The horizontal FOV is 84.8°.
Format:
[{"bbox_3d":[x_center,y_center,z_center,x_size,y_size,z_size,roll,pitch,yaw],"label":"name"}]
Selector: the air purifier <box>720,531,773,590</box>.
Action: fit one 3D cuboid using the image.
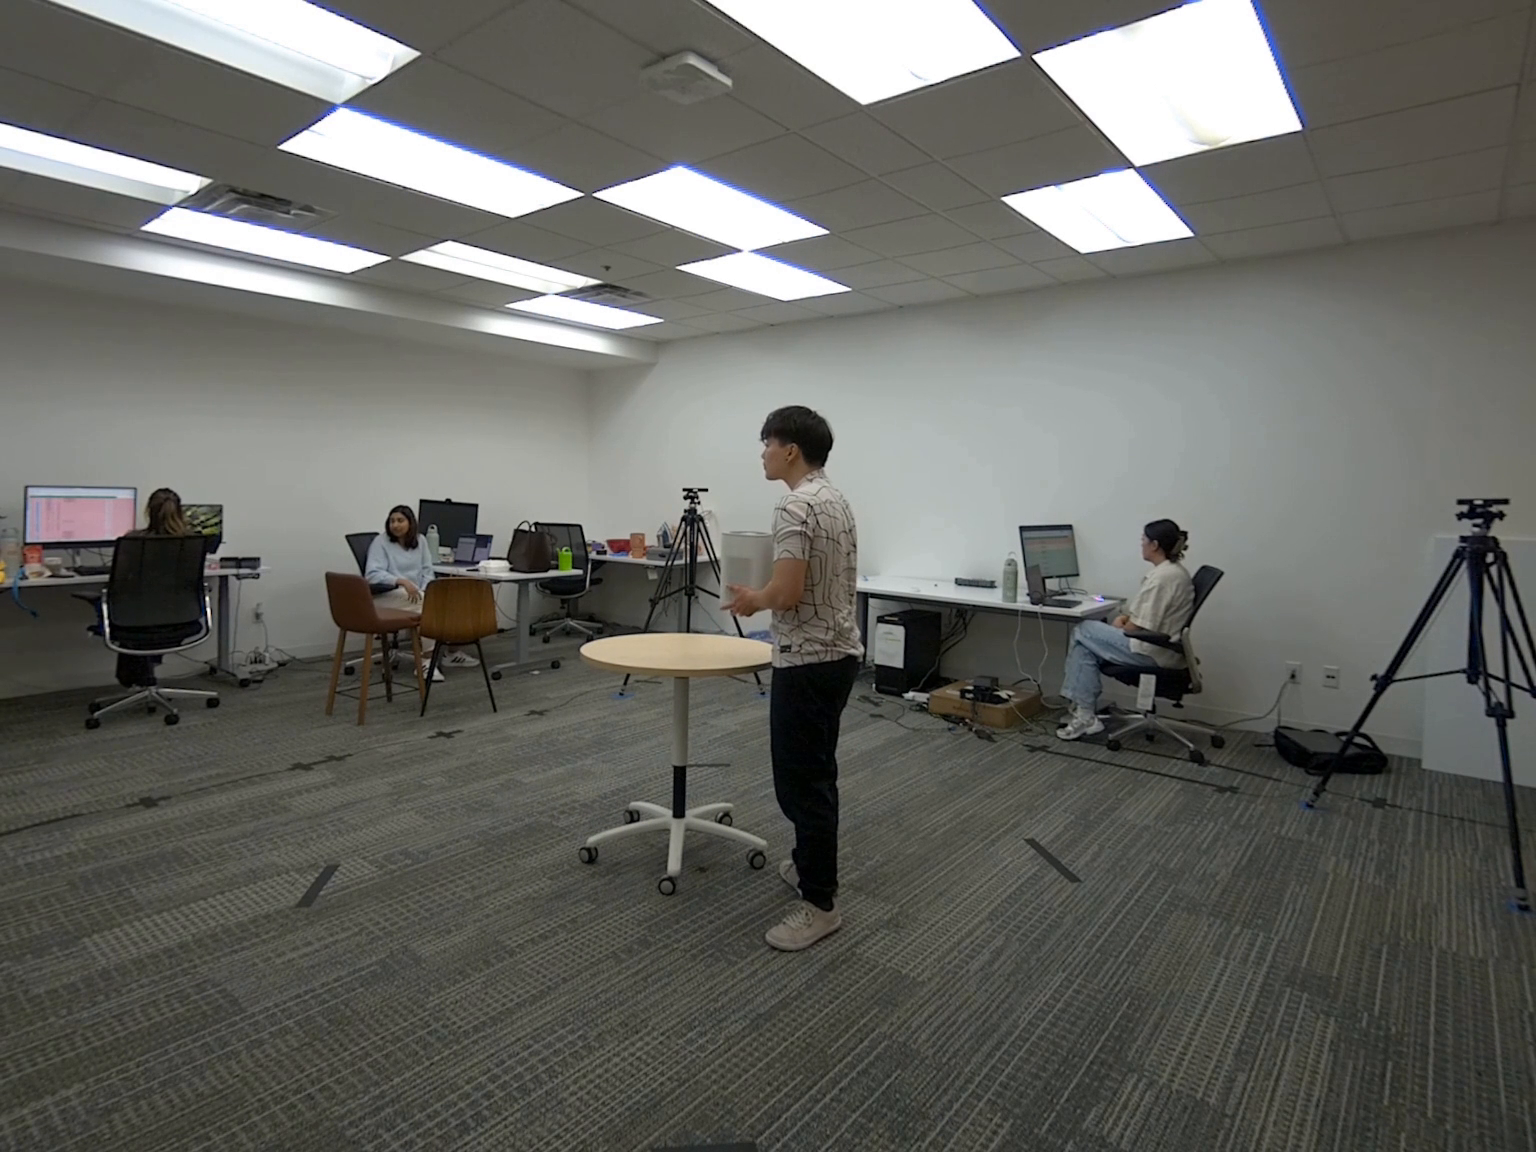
[{"bbox_3d":[-0.074,-0.021,2.942,0.175,0.264,0.168,4,7,21],"label":"air purifier"}]
